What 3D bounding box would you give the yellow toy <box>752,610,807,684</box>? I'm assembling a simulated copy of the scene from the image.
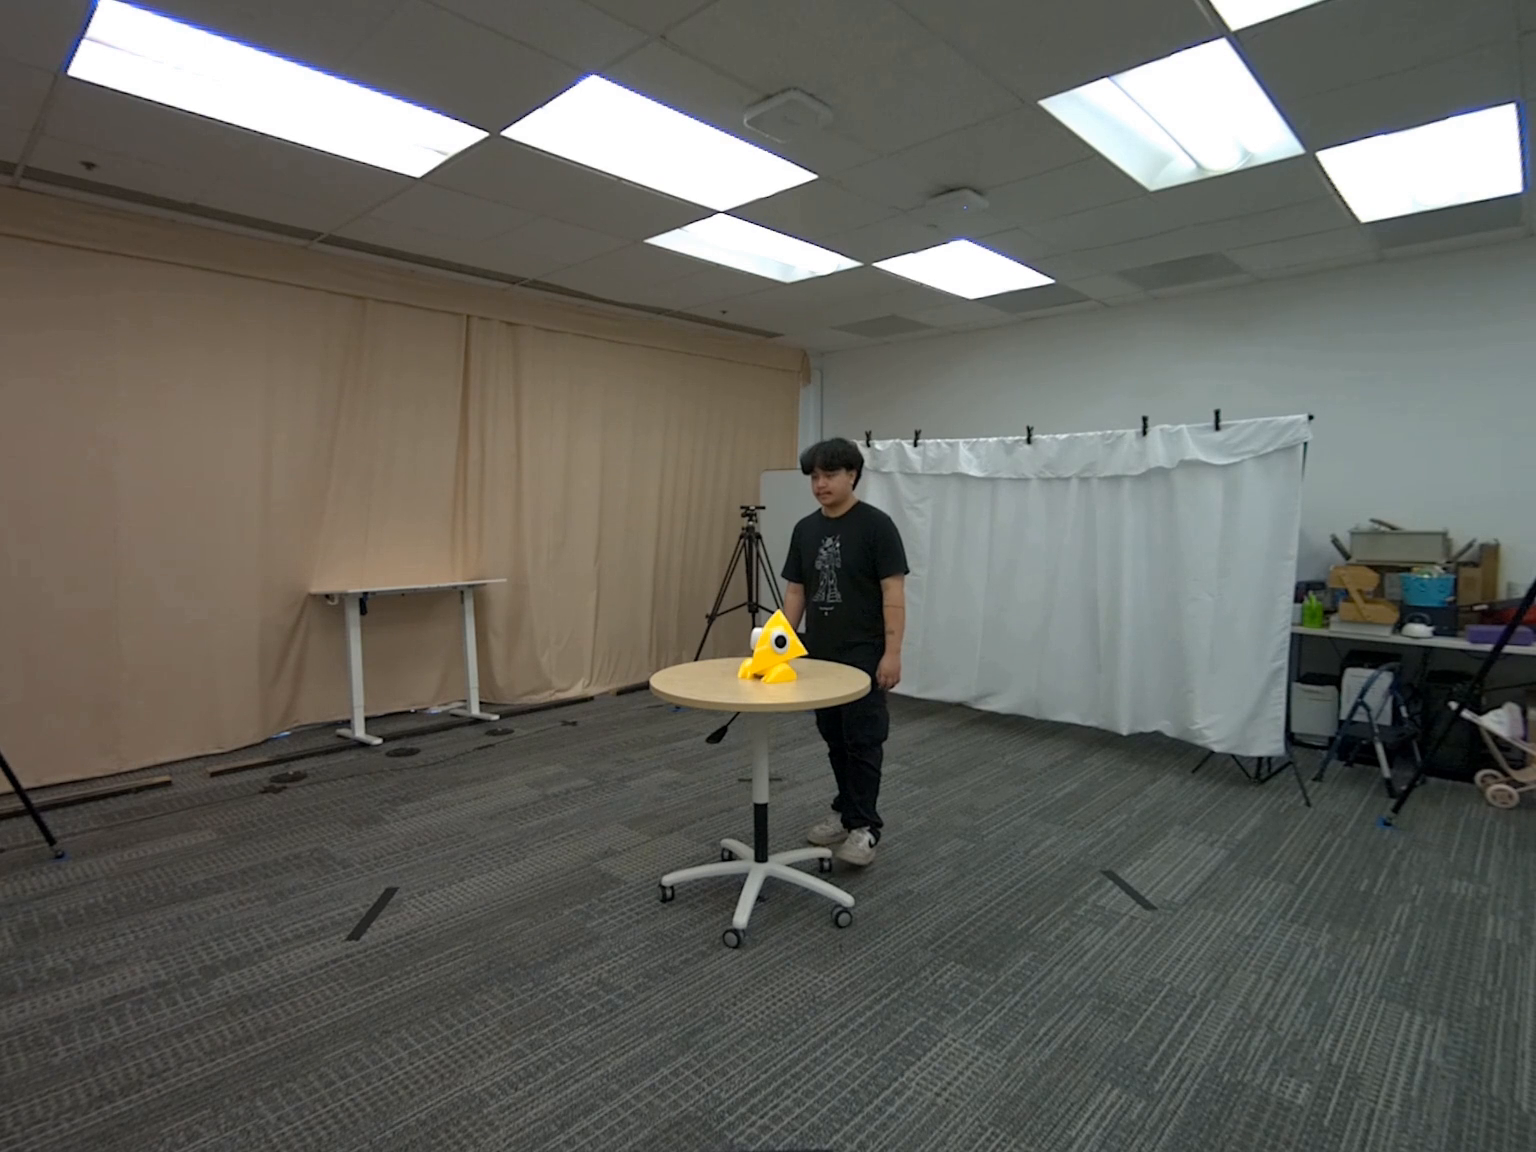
[{"bbox_3d":[0.004,0.238,2.942,0.211,0.230,0.187,3,5,41],"label":"yellow toy"}]
